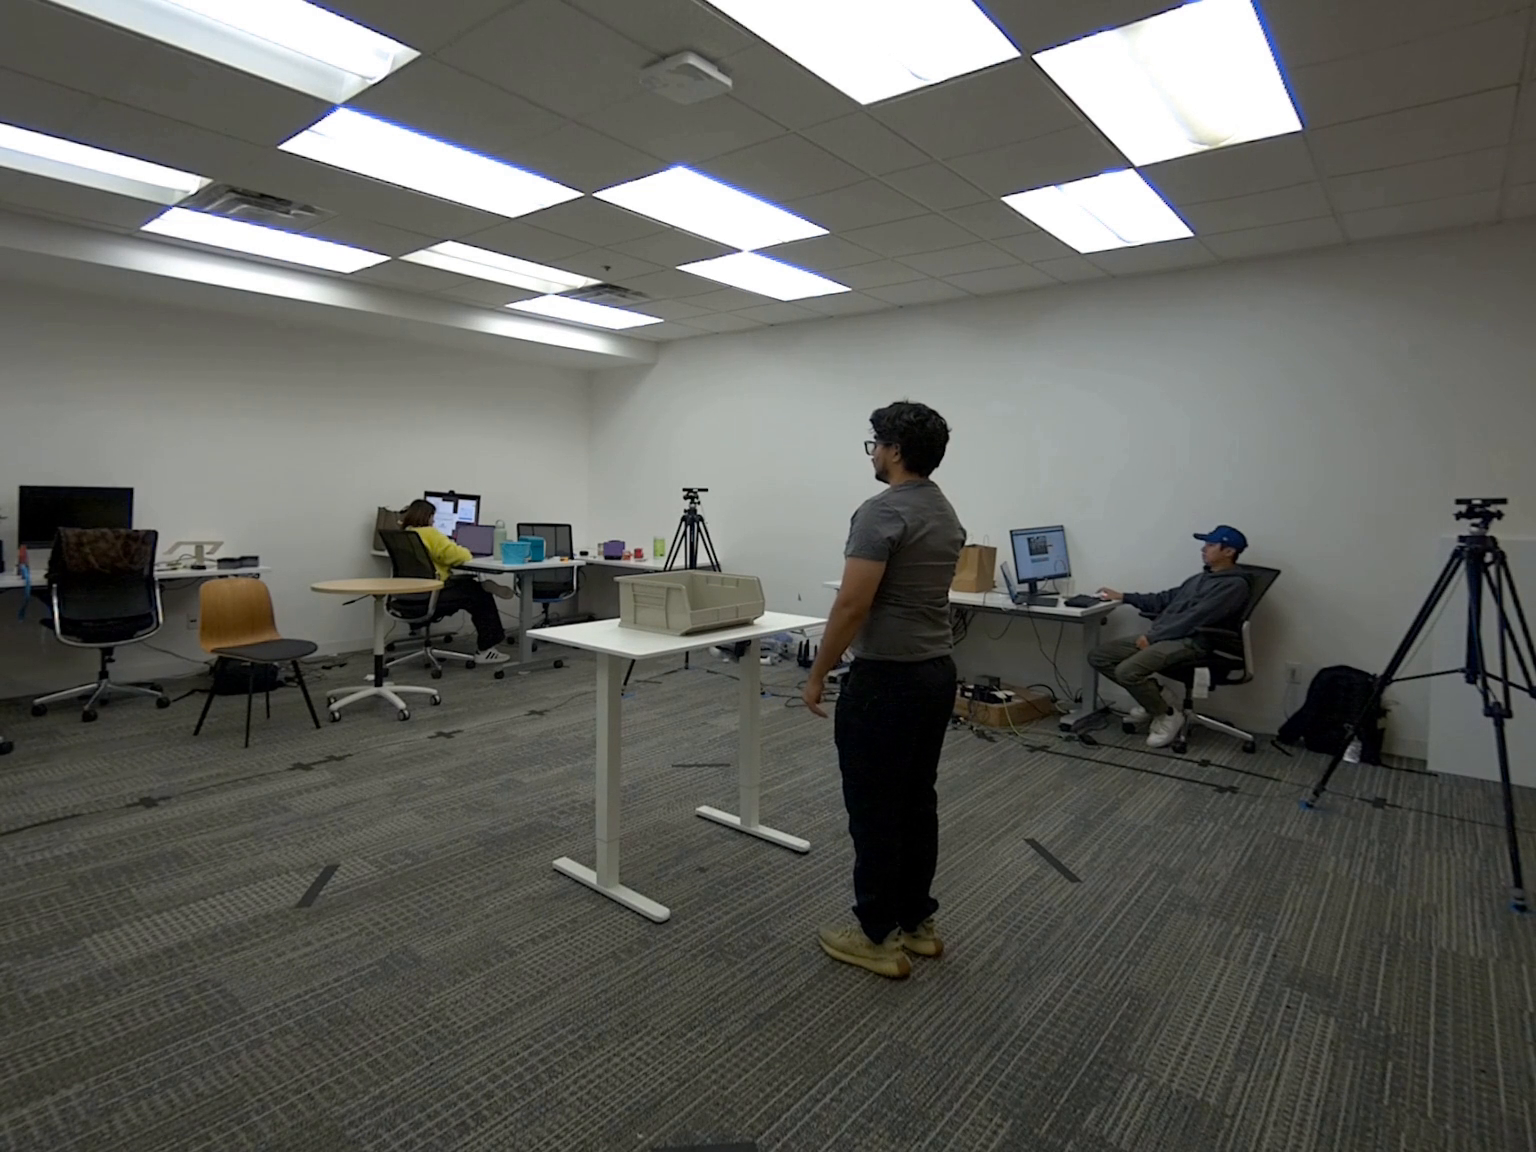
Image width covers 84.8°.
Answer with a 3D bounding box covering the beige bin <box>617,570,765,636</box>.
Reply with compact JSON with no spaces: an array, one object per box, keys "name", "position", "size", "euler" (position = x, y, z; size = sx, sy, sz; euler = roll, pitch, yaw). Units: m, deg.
[{"name":"beige bin","position":[-0.292,0.093,3.141],"size":[0.390,0.188,0.410],"euler":[3,6,39]}]
